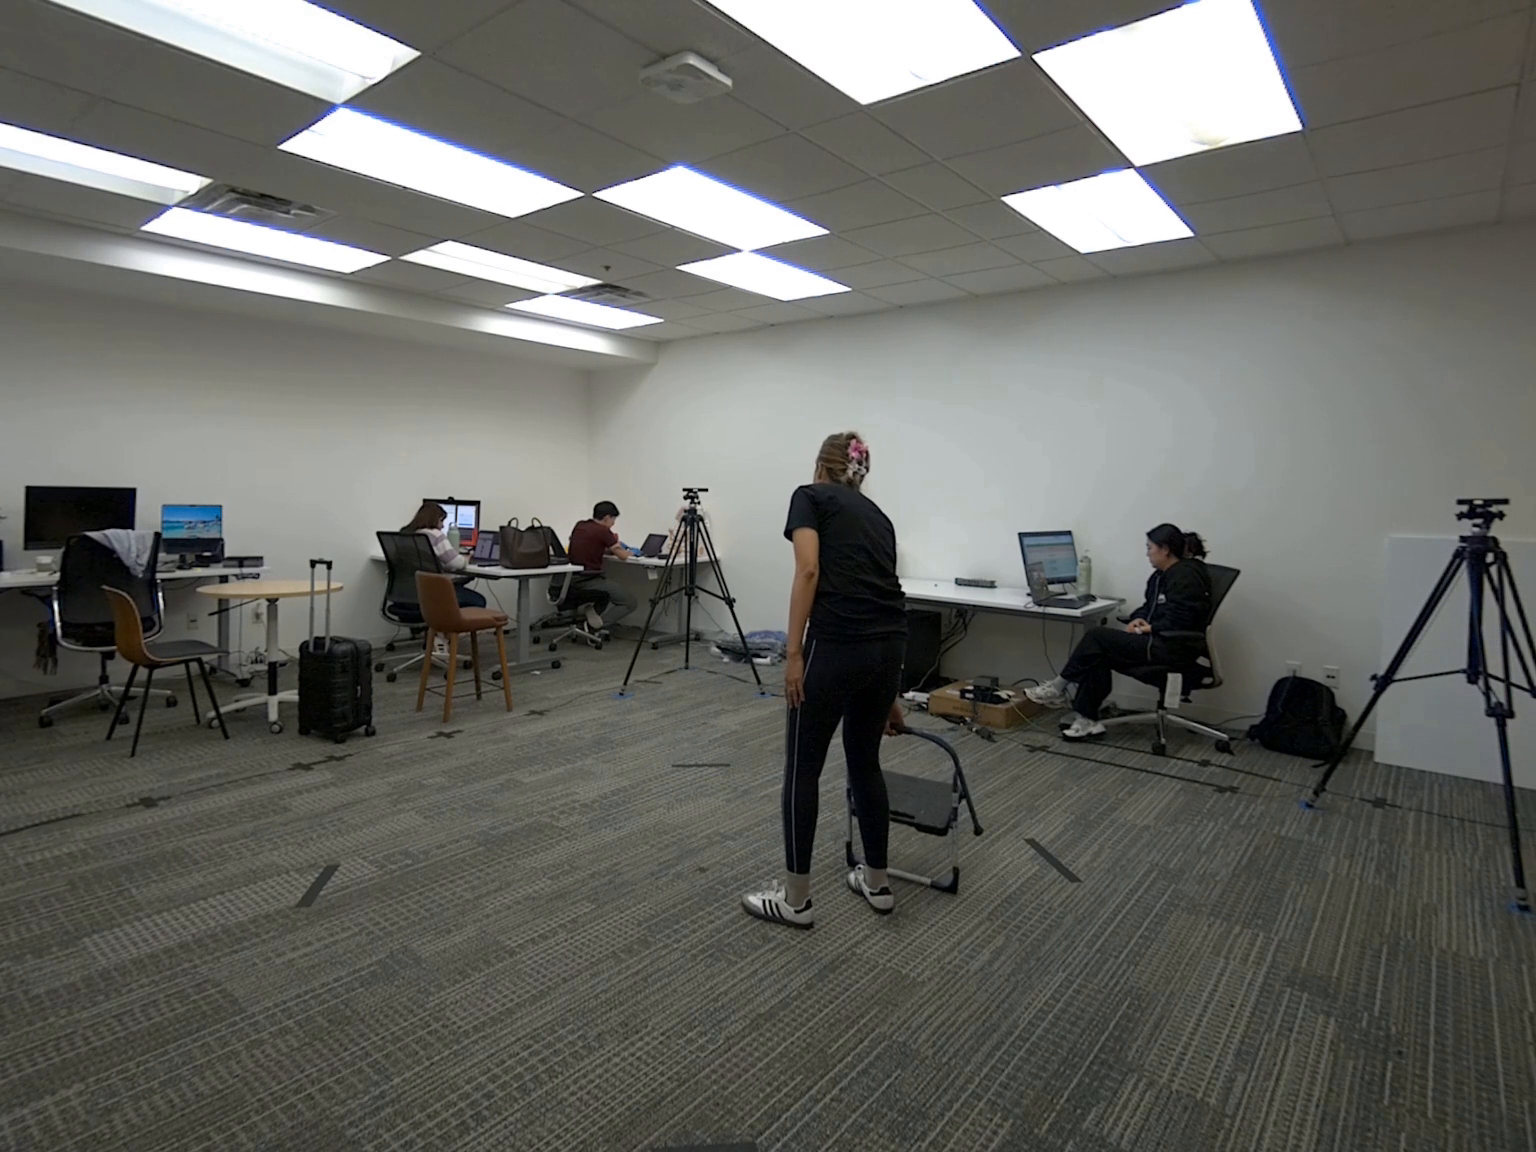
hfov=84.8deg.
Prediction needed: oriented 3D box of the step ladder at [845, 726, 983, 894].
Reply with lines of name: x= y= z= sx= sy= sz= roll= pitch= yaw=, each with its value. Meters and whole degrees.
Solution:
step ladder: x=0.495 y=0.746 z=3.090 sx=0.443 sy=0.592 sz=0.347 roll=3 pitch=26 yaw=29
